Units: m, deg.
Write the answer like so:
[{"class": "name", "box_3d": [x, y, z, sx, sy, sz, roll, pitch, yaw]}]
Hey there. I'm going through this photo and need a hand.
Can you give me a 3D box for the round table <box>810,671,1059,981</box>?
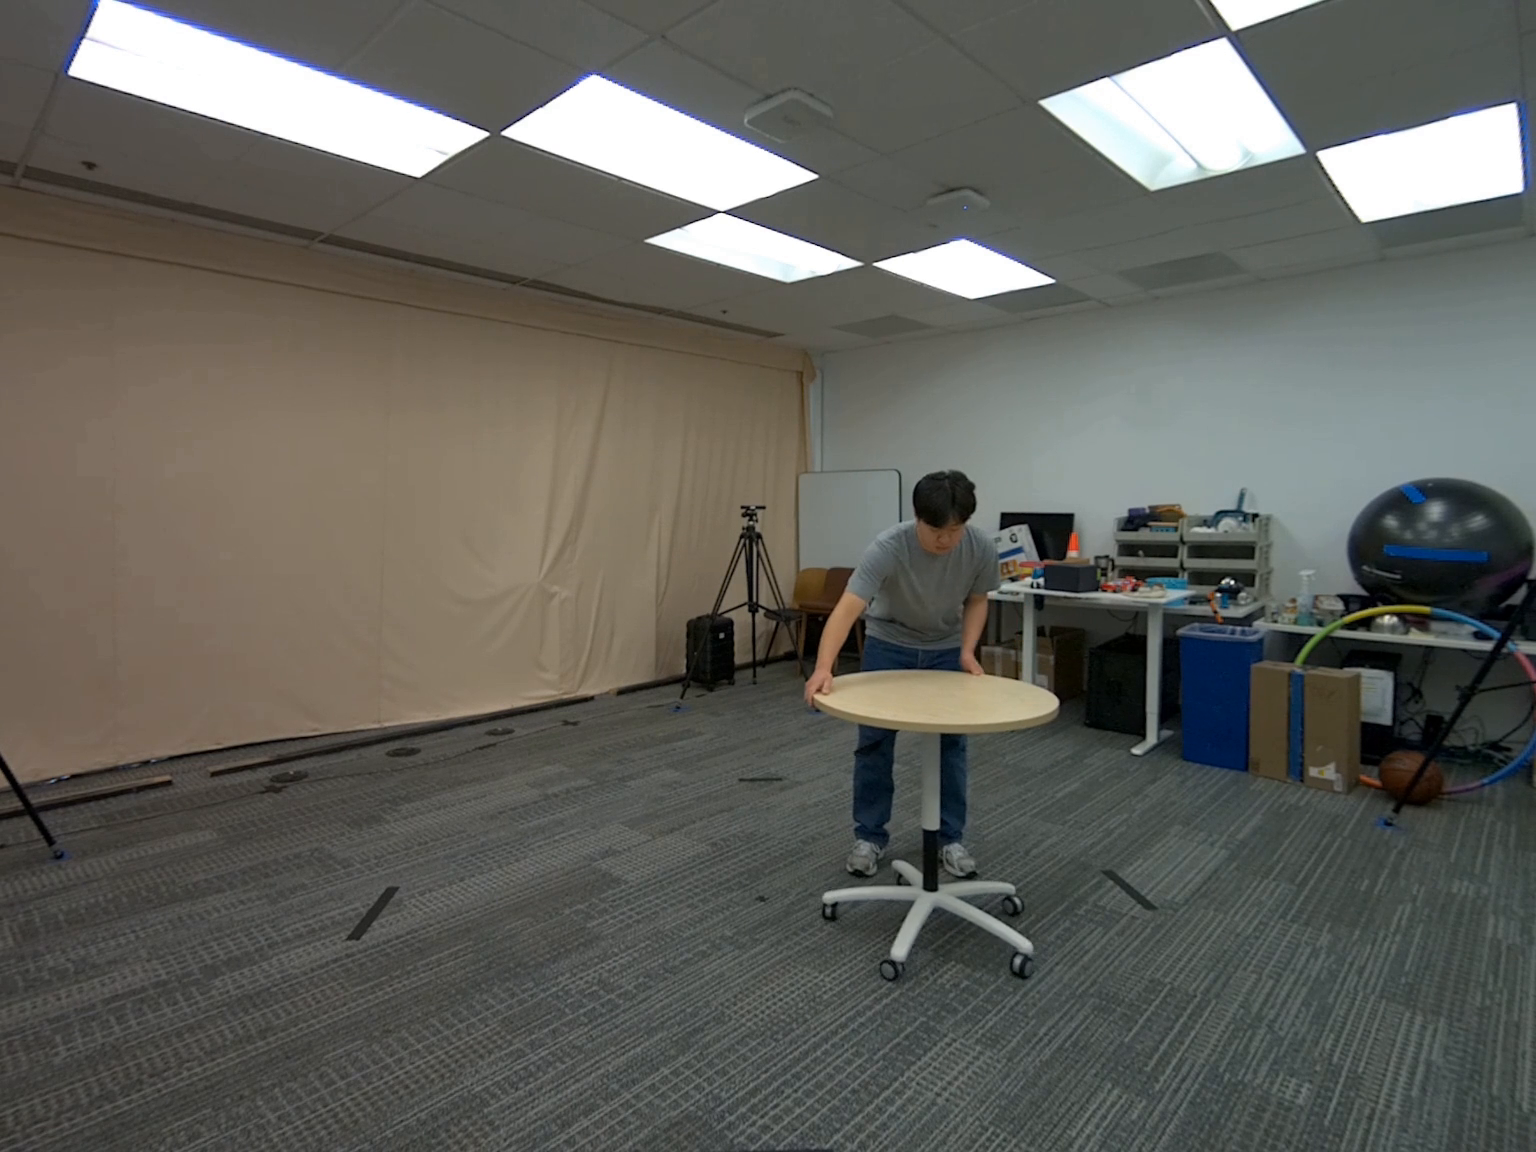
[{"class": "round table", "box_3d": [0.529, 0.773, 2.738, 0.763, 0.792, 0.767, 0, 4, -2]}]
